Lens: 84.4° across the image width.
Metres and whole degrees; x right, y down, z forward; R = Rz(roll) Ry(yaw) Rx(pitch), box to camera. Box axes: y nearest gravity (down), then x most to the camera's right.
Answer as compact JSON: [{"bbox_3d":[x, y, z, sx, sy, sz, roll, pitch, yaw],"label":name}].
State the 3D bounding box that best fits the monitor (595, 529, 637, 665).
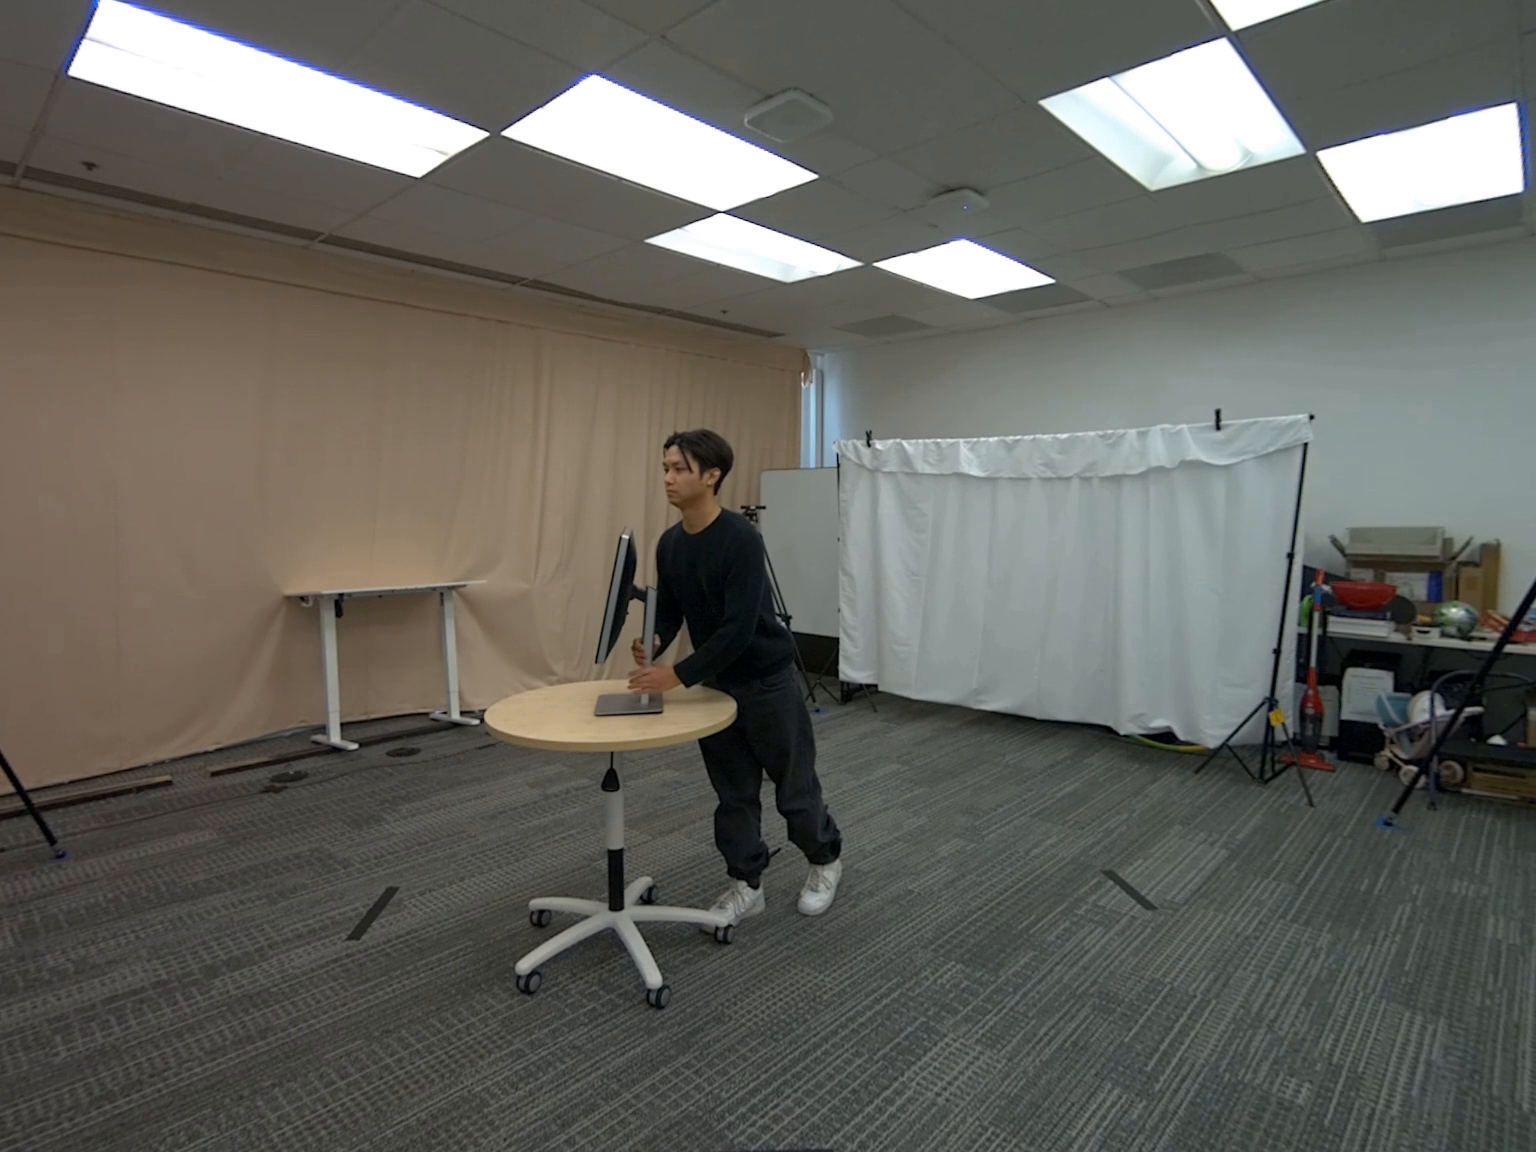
[{"bbox_3d":[-0.434,0.137,2.585,0.173,0.514,0.536,-5,6,-8],"label":"monitor"}]
